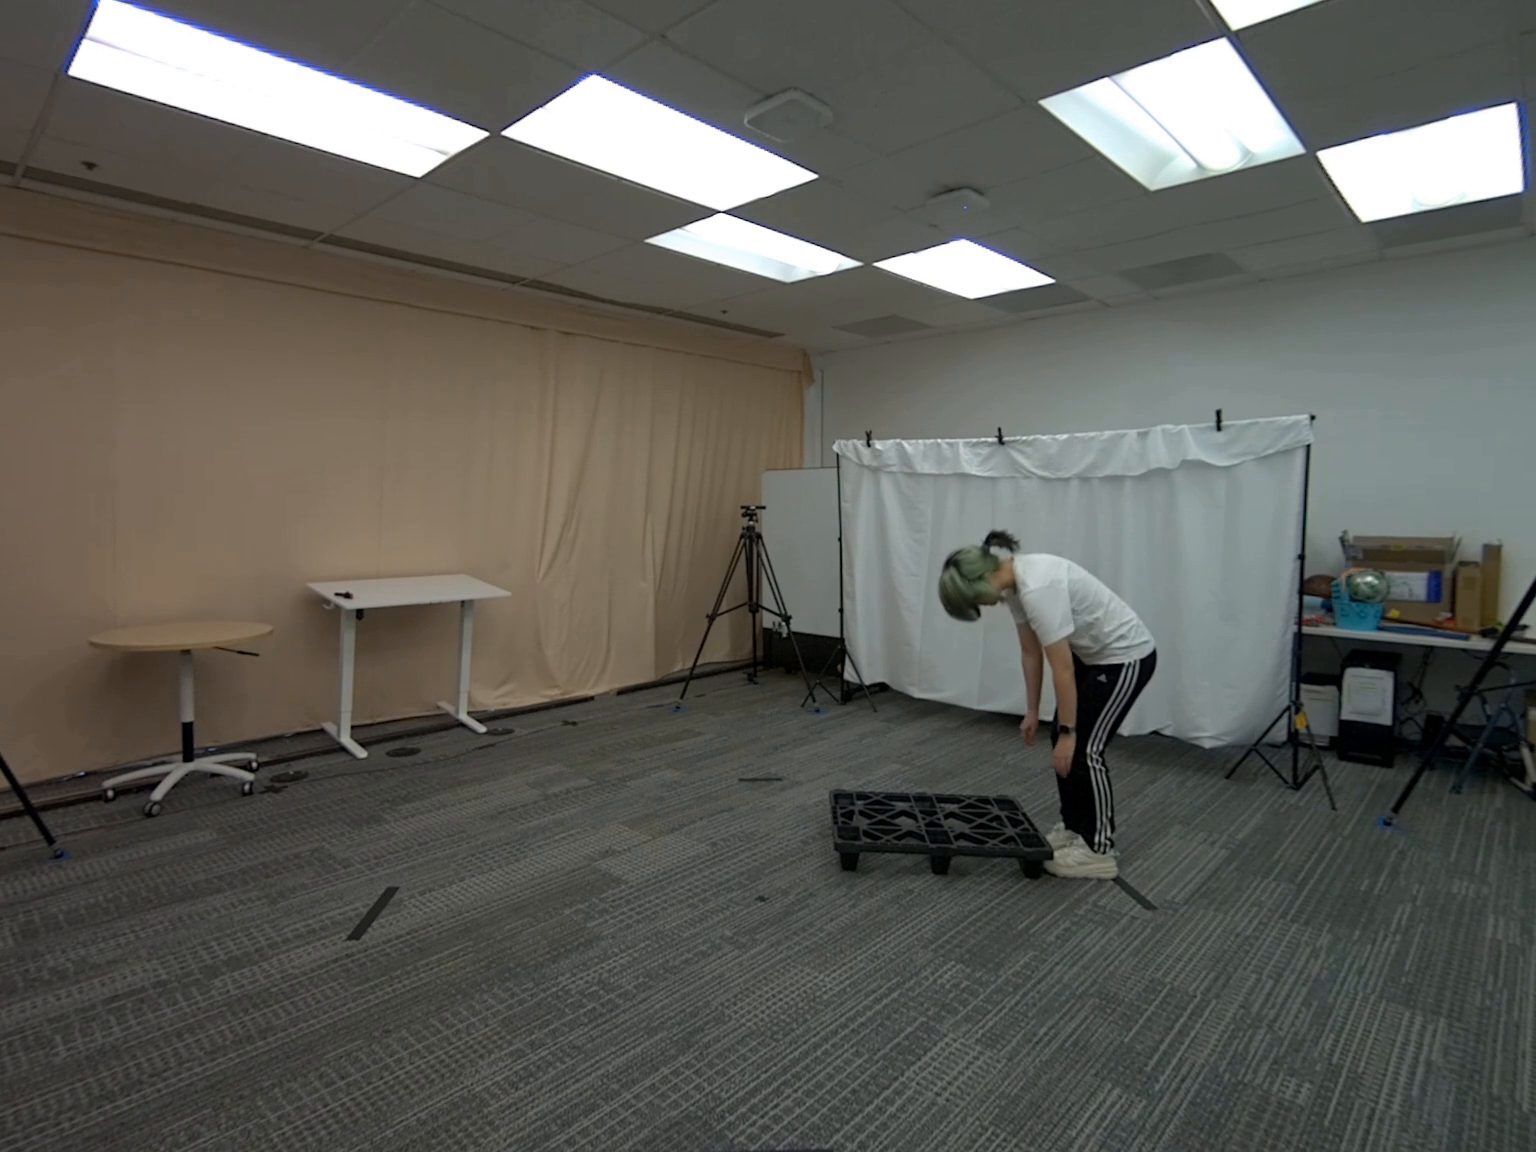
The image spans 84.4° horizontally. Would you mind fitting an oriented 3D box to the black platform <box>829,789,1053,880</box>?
[{"bbox_3d":[0.660,1.037,3.403,0.810,0.143,0.603,0,3,5],"label":"black platform"}]
